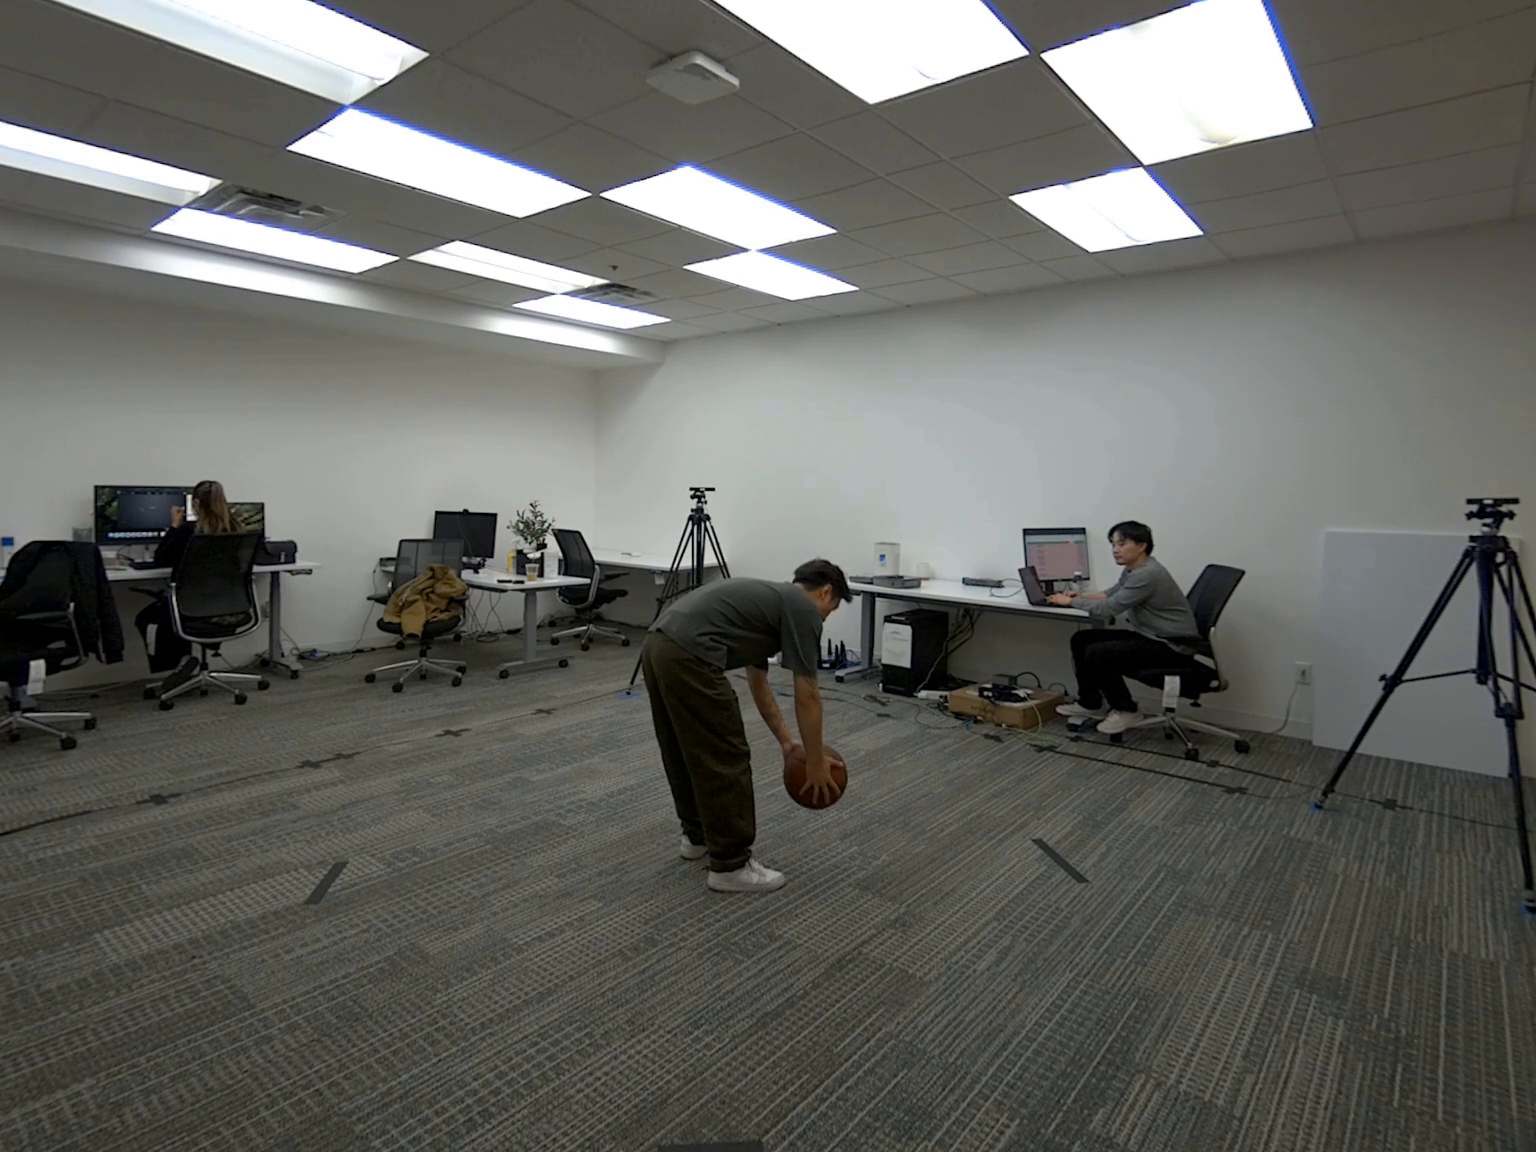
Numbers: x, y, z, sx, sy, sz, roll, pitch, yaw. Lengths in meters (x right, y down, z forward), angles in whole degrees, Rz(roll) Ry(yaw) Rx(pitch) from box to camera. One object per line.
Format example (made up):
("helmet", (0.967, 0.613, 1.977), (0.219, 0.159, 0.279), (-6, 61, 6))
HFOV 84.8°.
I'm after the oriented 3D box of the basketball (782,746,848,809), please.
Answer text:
("basketball", (0.166, 0.732, 3.161), (0.235, 0.235, 0.237), (1, 4, -2))
